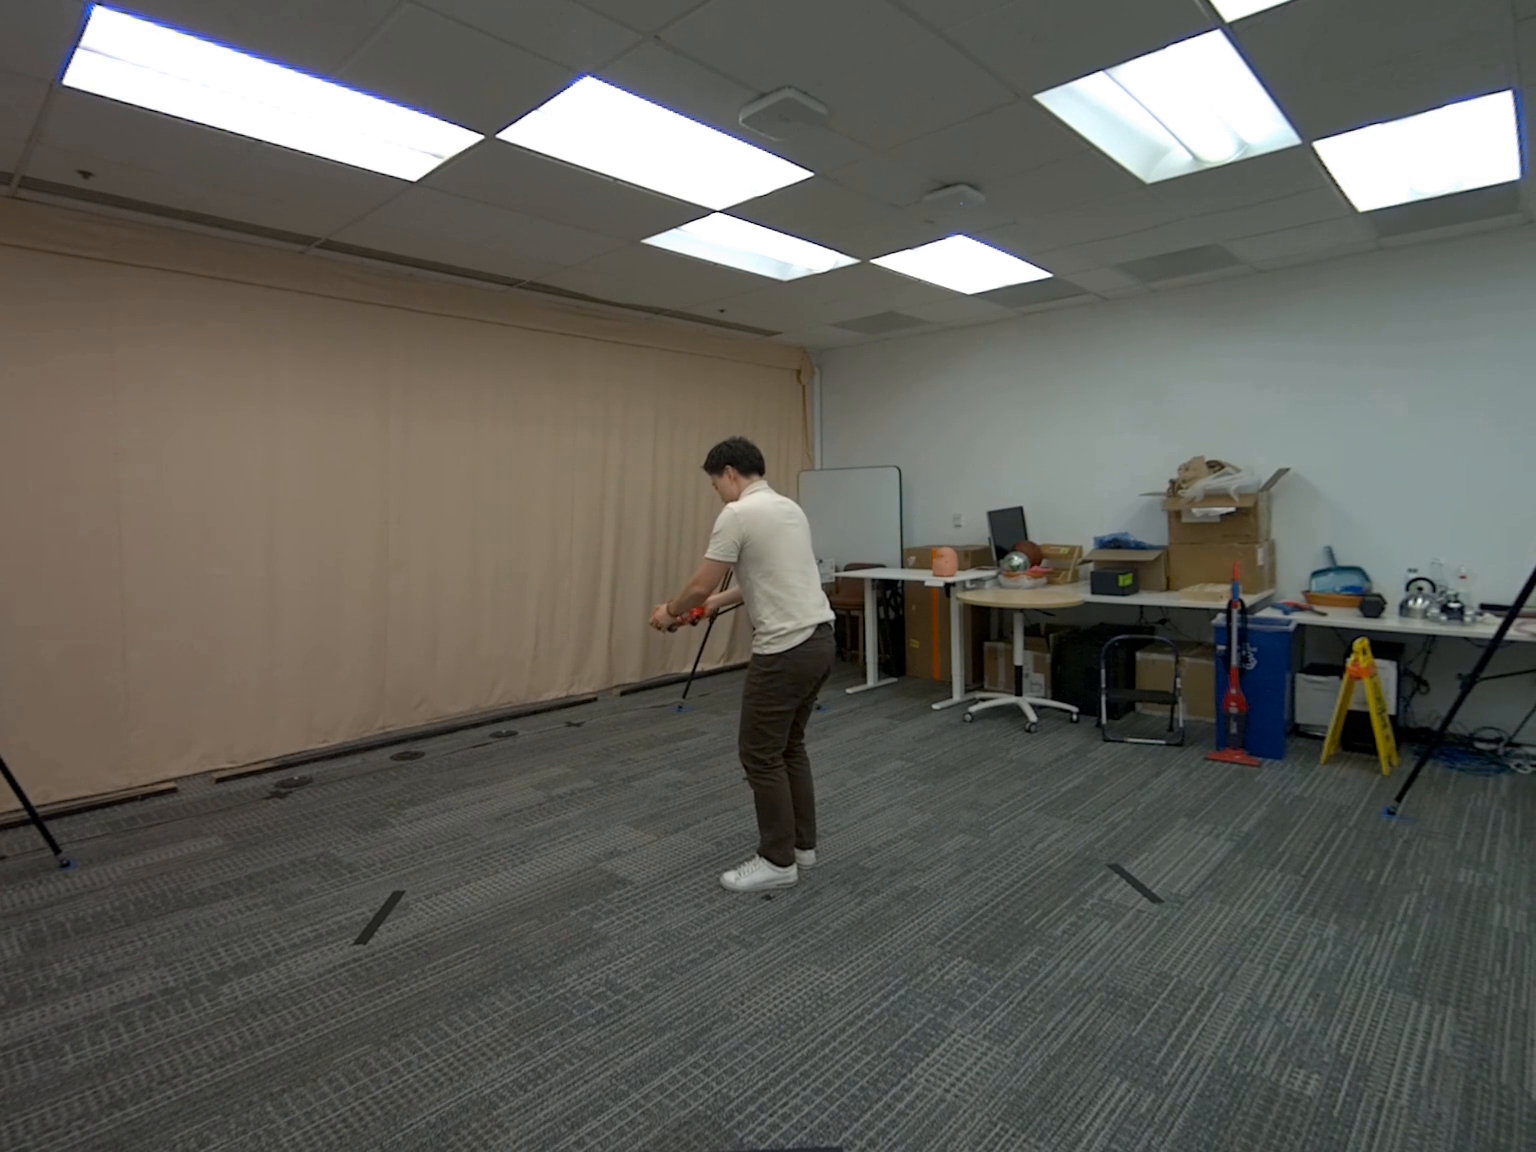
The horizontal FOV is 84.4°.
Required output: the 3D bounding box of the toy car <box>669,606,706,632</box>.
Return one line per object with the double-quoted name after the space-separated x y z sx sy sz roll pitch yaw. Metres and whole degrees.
-0.352 0.167 3.383 0.134 0.082 0.249 20 27 29 "toy car"
